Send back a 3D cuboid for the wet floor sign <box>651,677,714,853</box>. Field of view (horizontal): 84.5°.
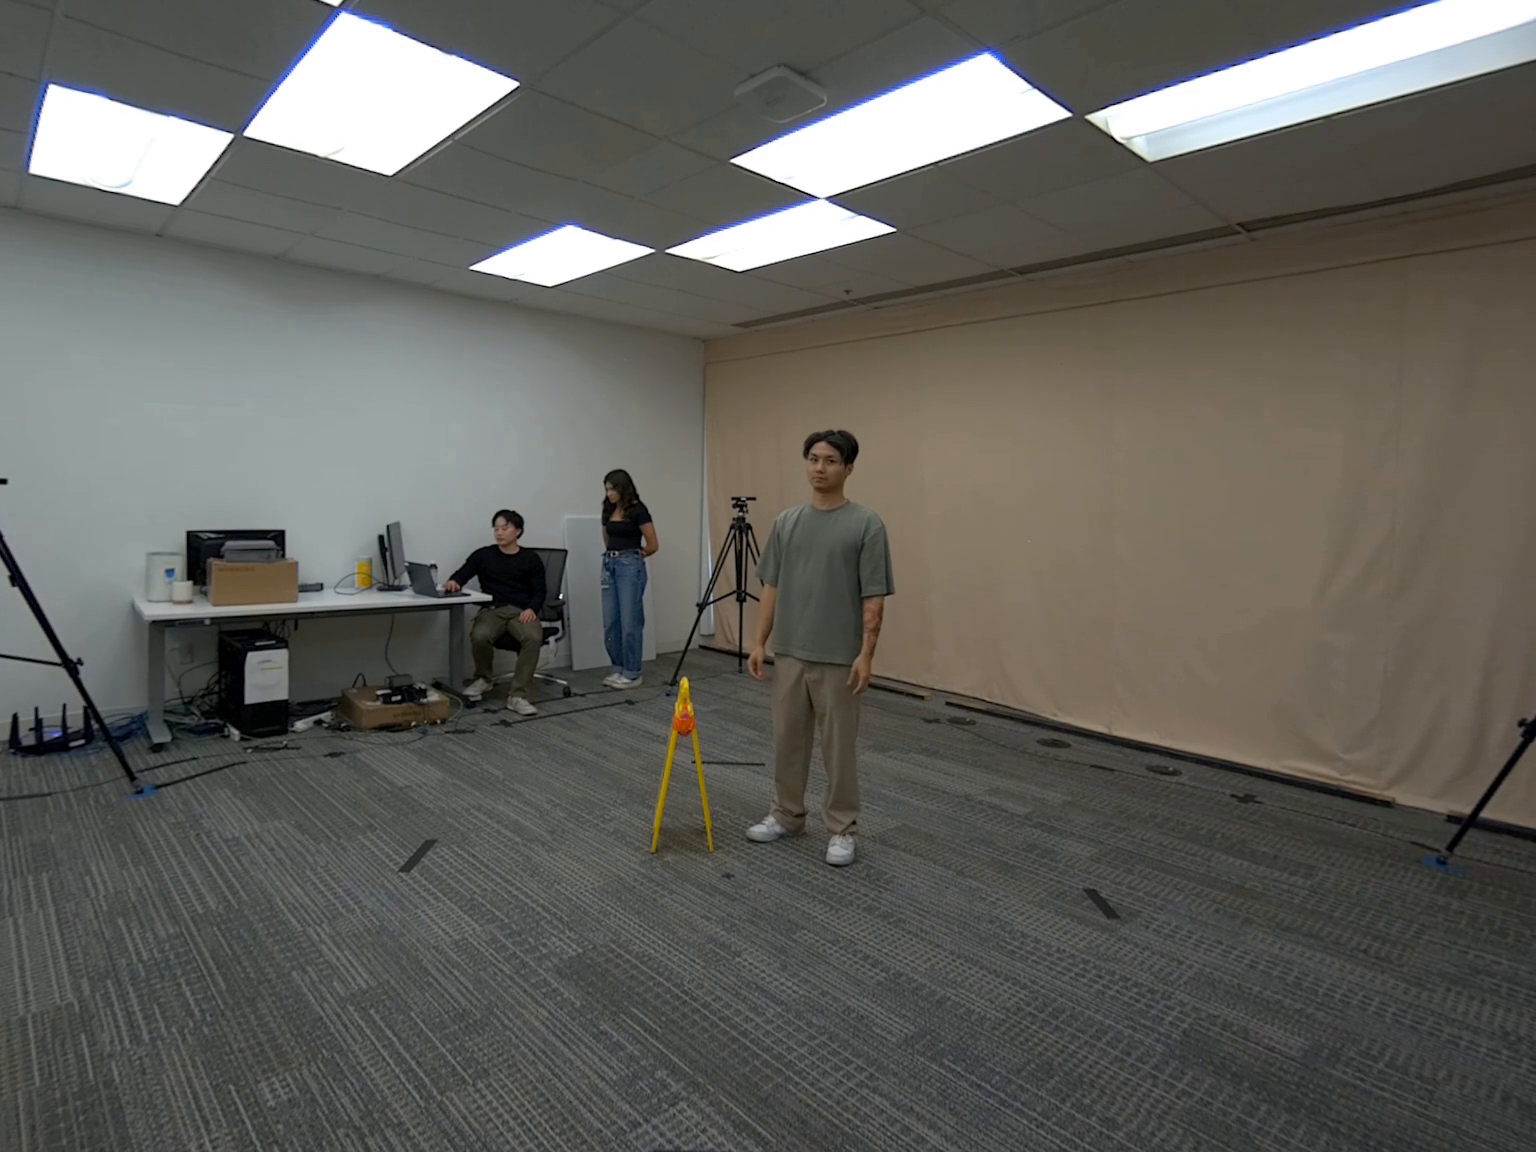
[{"bbox_3d":[-0.350,0.748,3.421,0.288,0.645,0.283,-1,1,-5],"label":"wet floor sign"}]
